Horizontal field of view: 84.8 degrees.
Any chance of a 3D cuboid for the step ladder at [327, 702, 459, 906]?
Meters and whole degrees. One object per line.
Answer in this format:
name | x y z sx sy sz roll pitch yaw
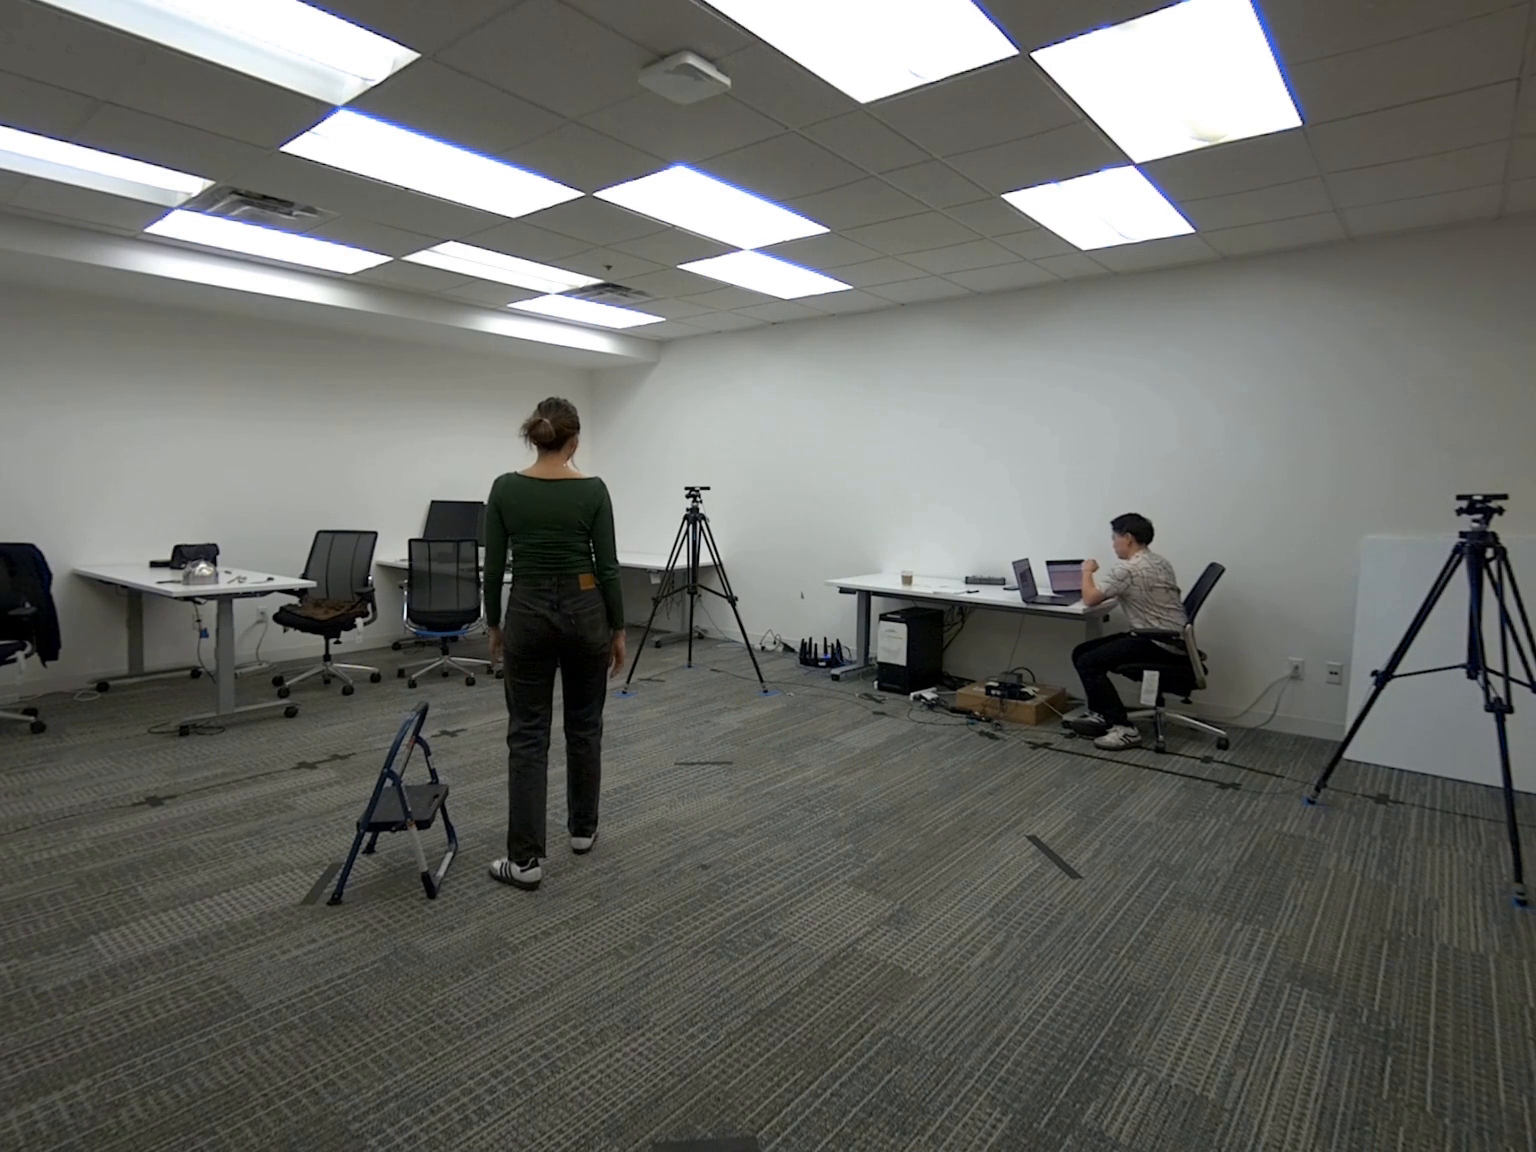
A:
step ladder | -1.324 0.761 3.011 0.346 0.604 0.436 1 4 -9
